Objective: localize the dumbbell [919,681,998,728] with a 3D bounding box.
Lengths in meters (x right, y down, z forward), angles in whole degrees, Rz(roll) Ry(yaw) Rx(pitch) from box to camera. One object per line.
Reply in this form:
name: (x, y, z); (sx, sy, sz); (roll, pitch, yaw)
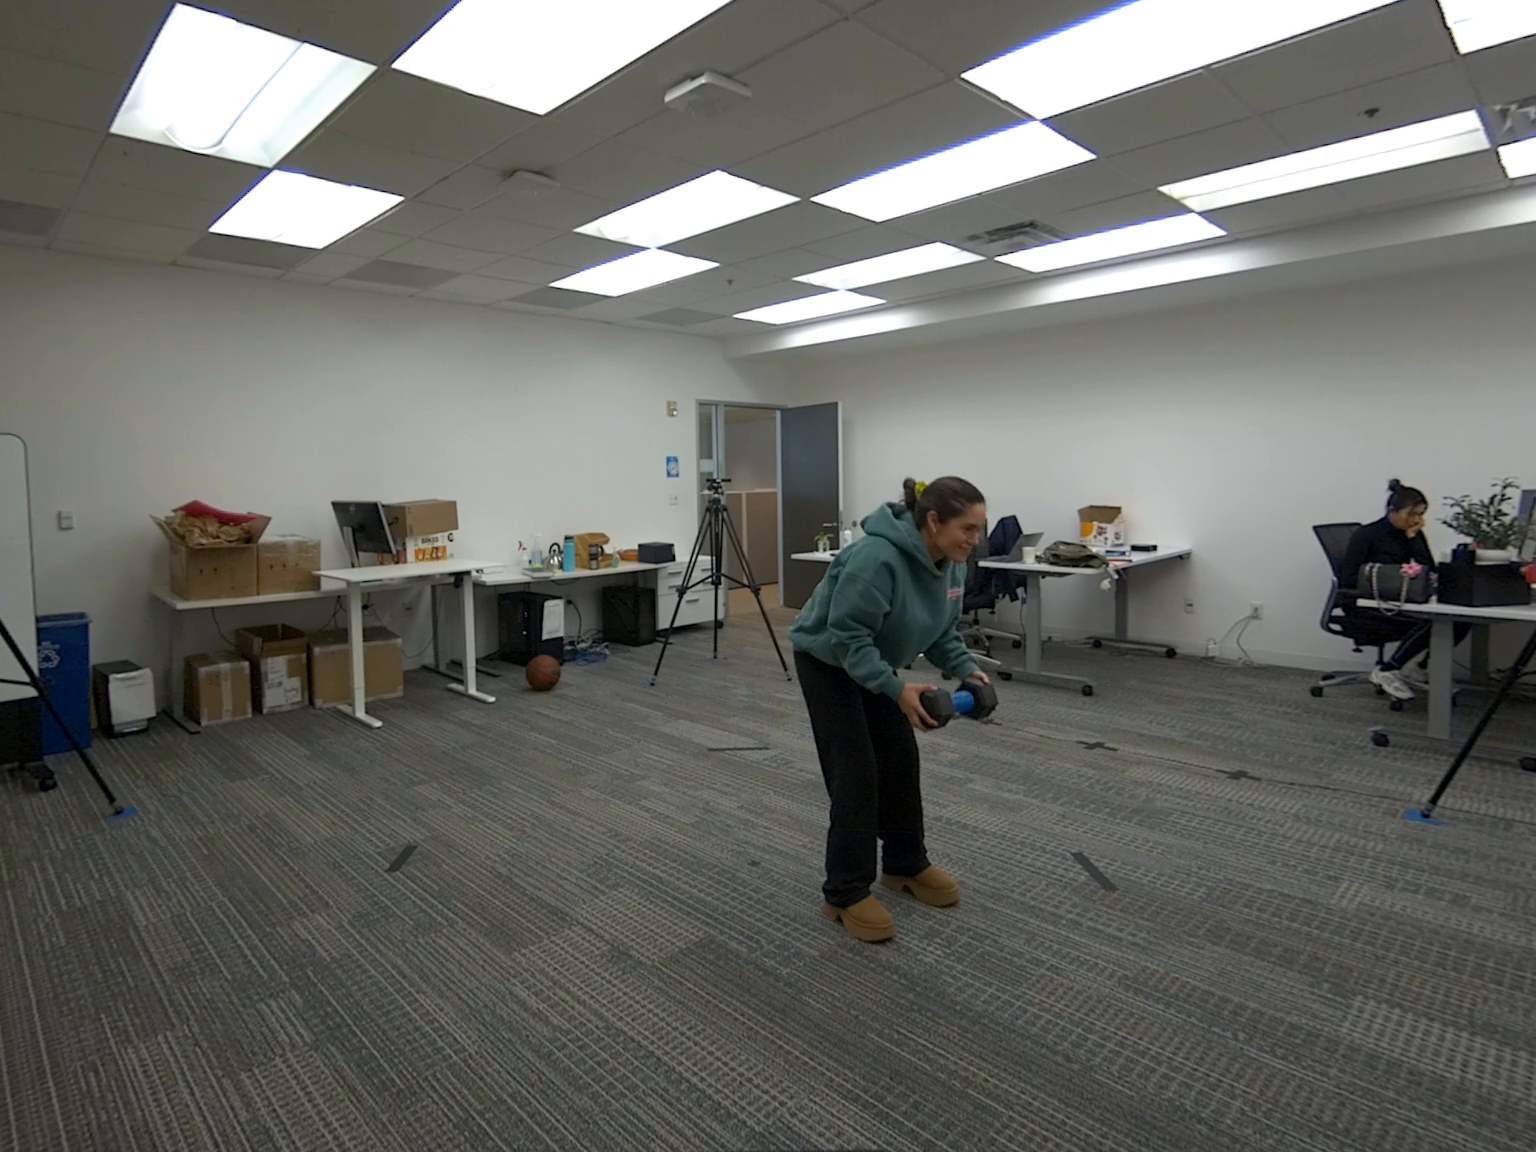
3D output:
dumbbell: (0.541, 0.376, 2.519); (0.285, 0.125, 0.110); (-1, -19, -41)
